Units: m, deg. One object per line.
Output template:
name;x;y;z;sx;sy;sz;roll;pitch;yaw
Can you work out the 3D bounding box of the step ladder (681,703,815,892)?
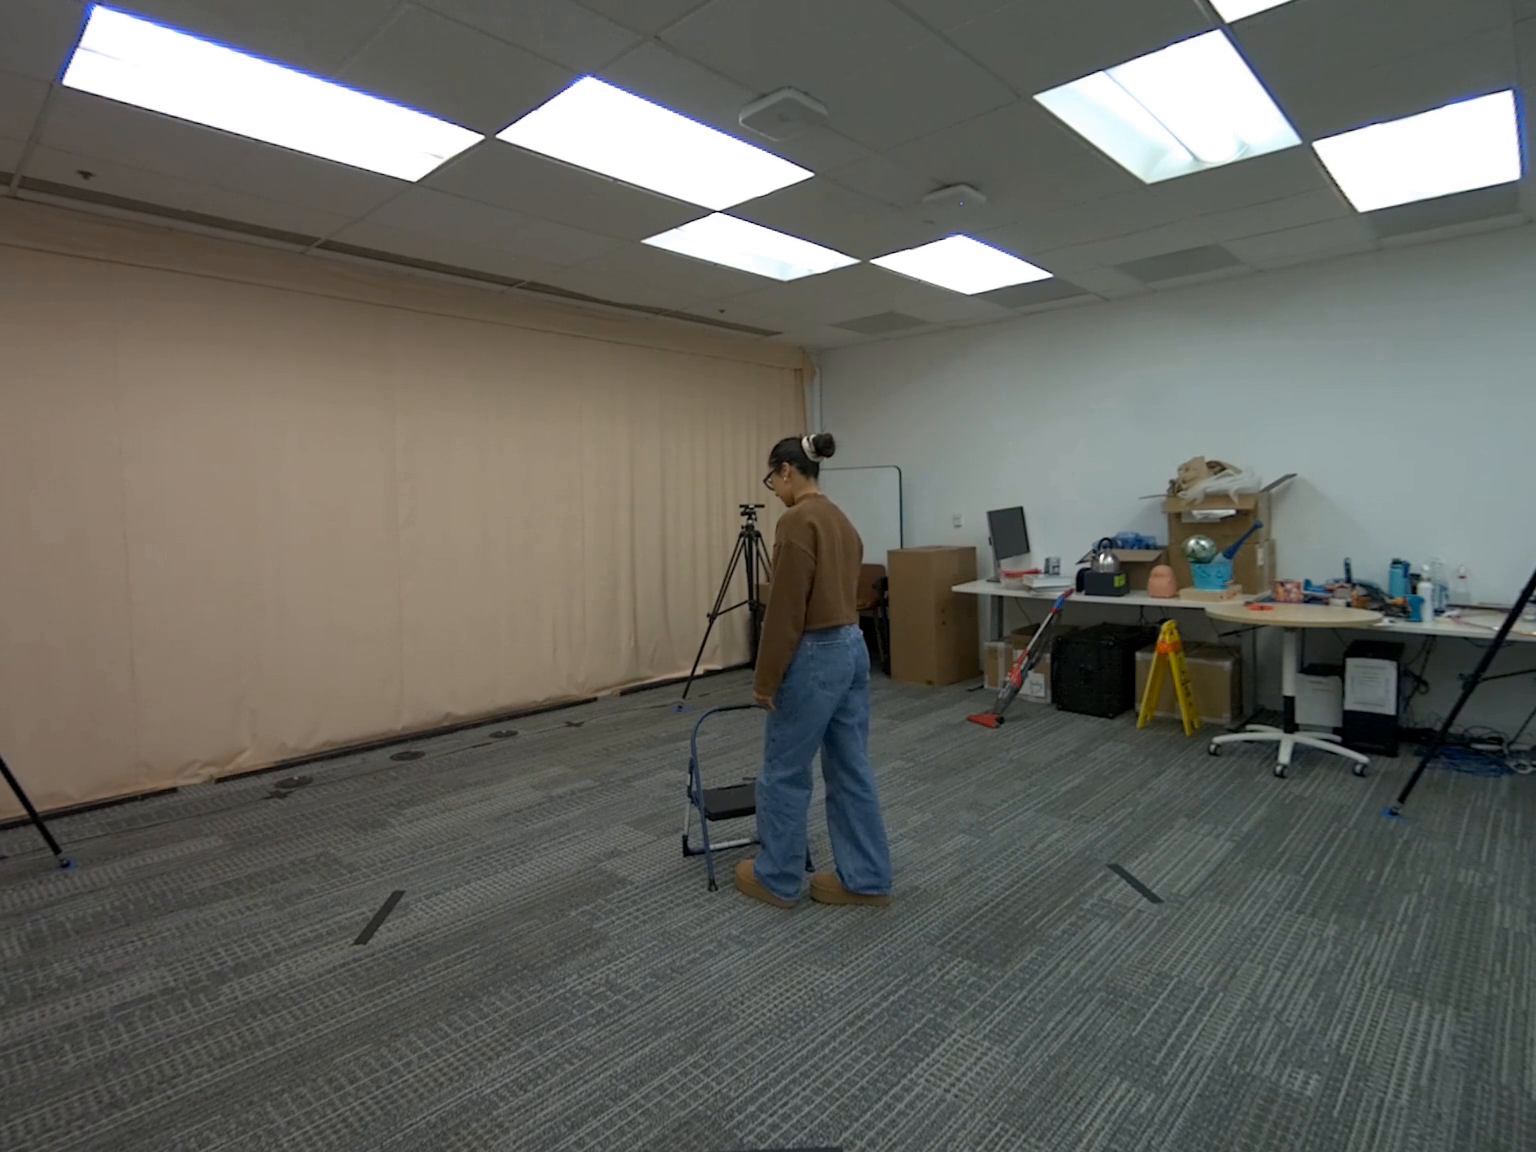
step ladder;-0.085;0.816;3.252;0.421;0.604;0.358;-2;4;-23
